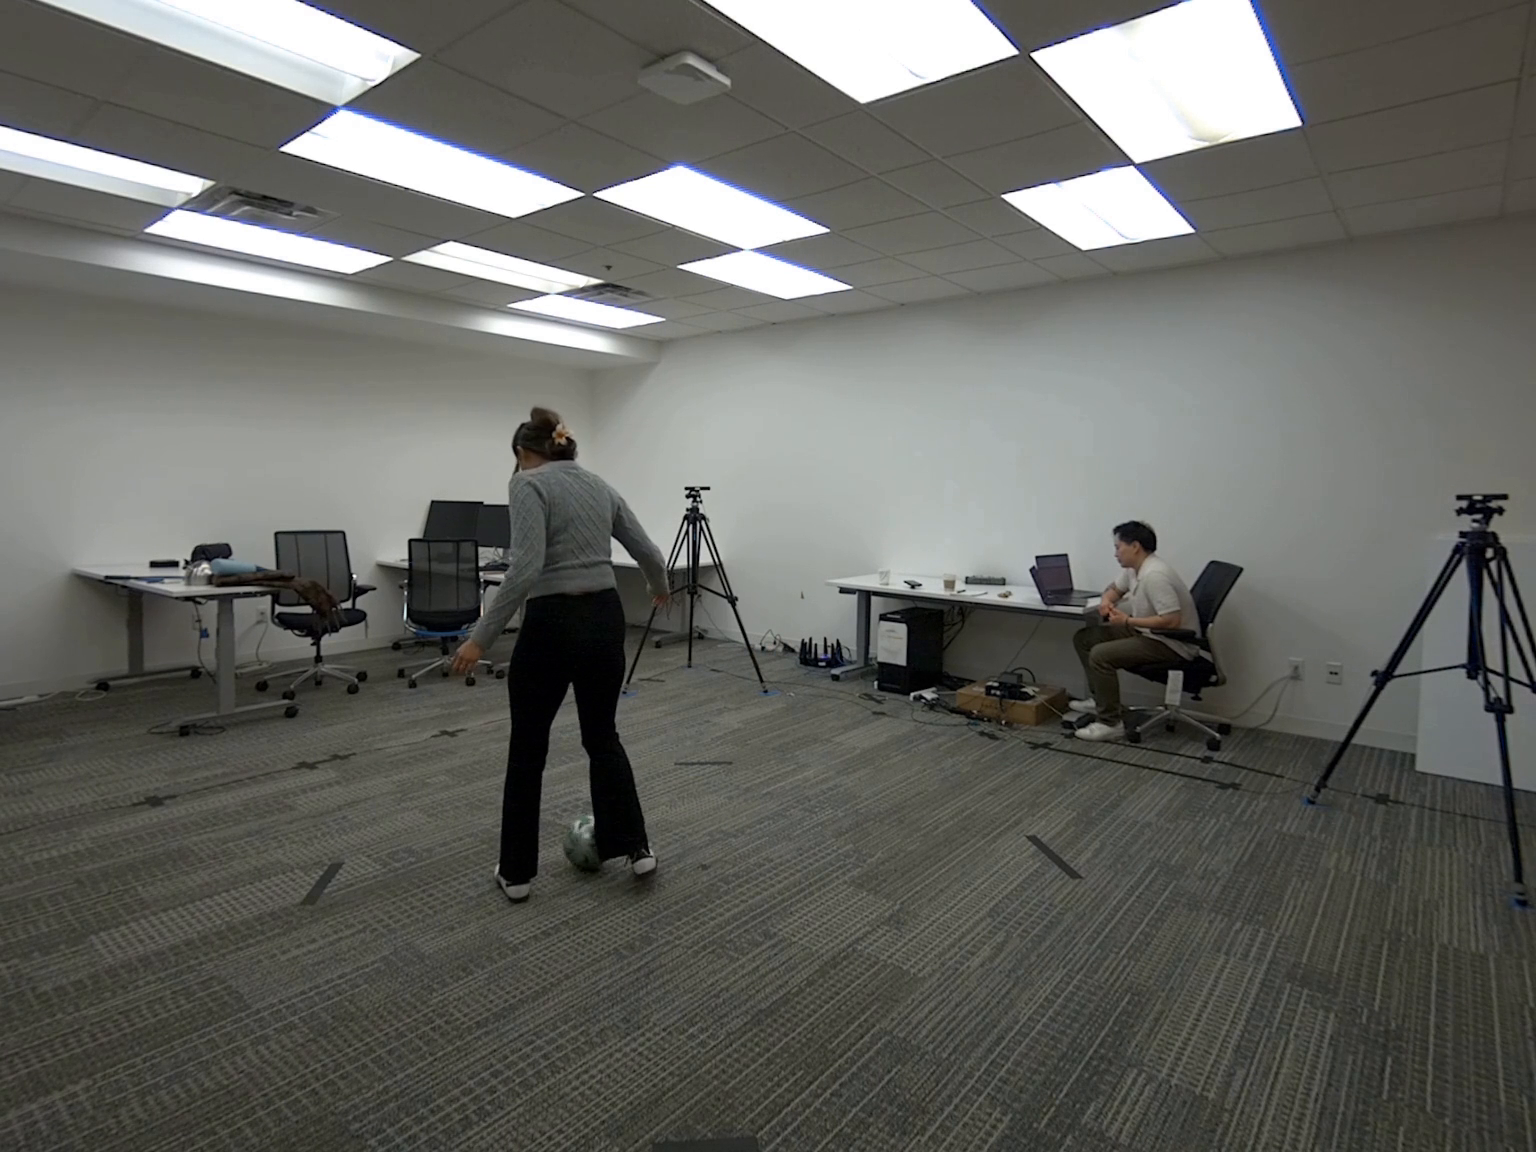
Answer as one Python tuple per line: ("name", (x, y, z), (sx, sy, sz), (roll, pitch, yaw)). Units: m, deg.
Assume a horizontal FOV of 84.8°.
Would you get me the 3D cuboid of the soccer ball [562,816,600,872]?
("soccer ball", (-0.660, 0.965, 3.098), (0.187, 0.187, 0.188), (1, 4, -2))
